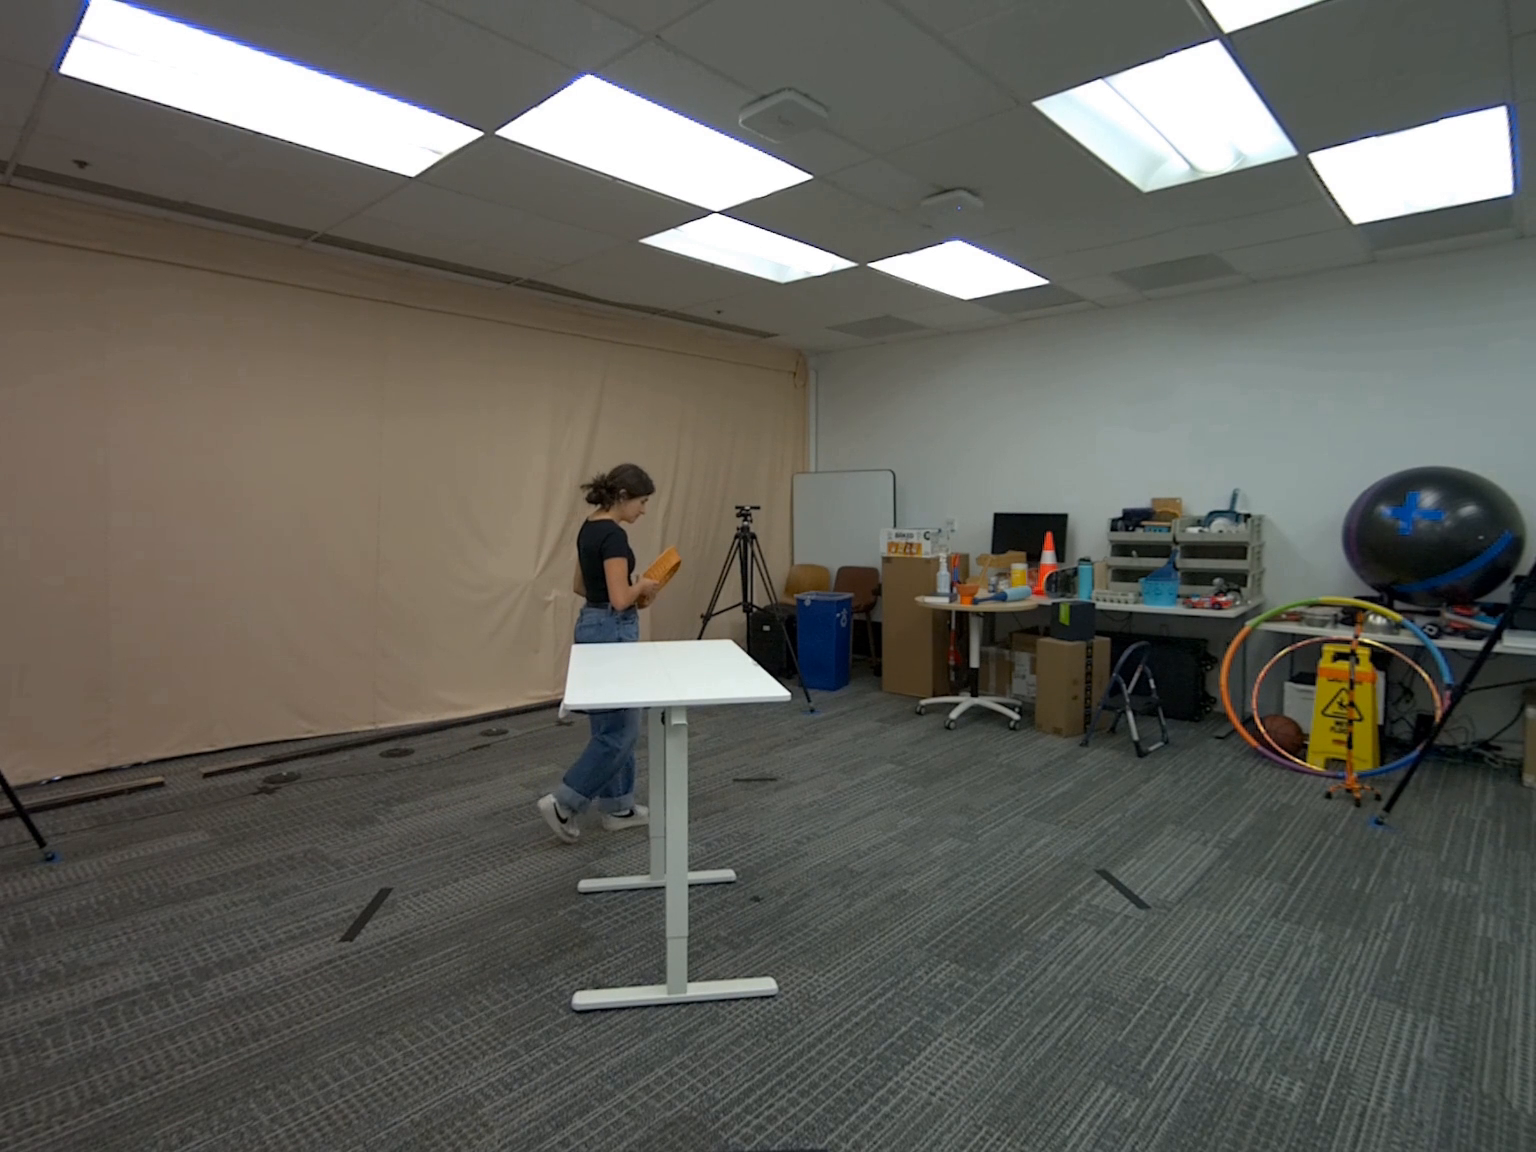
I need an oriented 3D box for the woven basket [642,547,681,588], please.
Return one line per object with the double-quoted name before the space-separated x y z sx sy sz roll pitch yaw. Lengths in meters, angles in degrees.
"woven basket" -0.509 0.018 3.812 0.074 0.348 0.251 37 -26 5
